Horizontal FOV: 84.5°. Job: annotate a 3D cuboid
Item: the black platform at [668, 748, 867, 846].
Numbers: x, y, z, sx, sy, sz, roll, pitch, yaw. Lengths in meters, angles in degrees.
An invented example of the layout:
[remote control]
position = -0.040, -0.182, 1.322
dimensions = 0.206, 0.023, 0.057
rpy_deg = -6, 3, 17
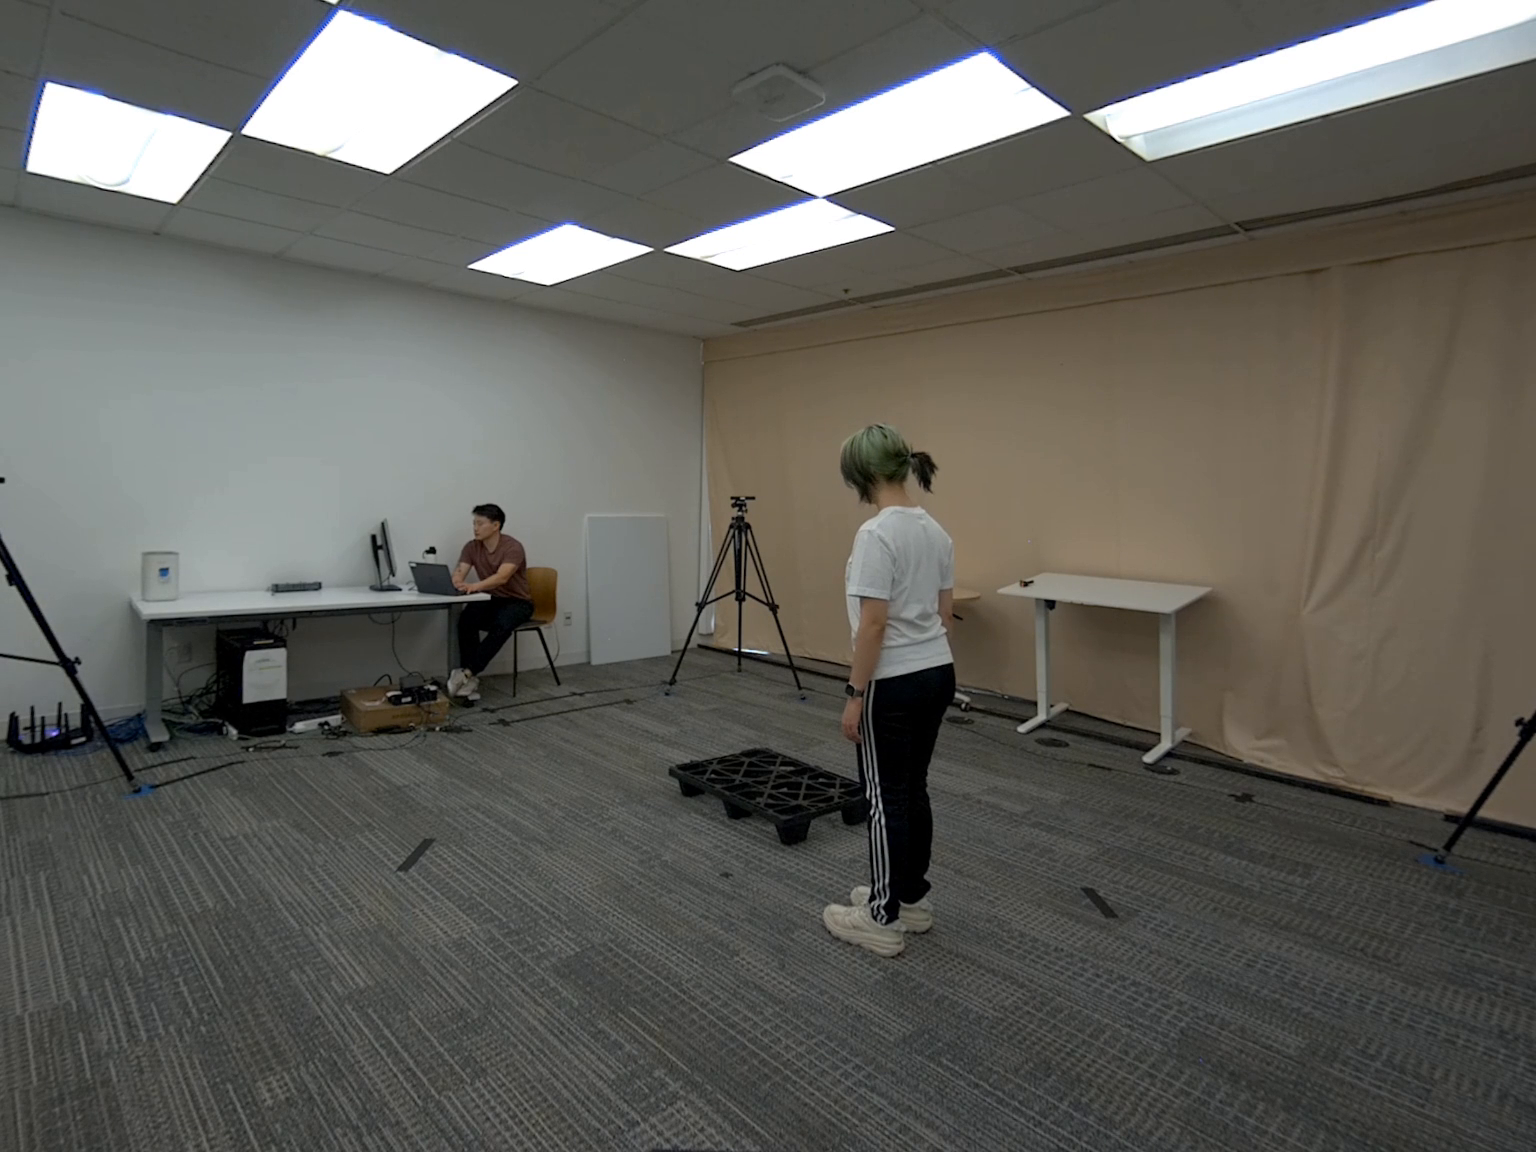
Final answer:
[black platform]
position = 0.005, 0.981, 3.802
dimensions = 0.591, 0.143, 0.826
rpy_deg = -3, 7, -40
